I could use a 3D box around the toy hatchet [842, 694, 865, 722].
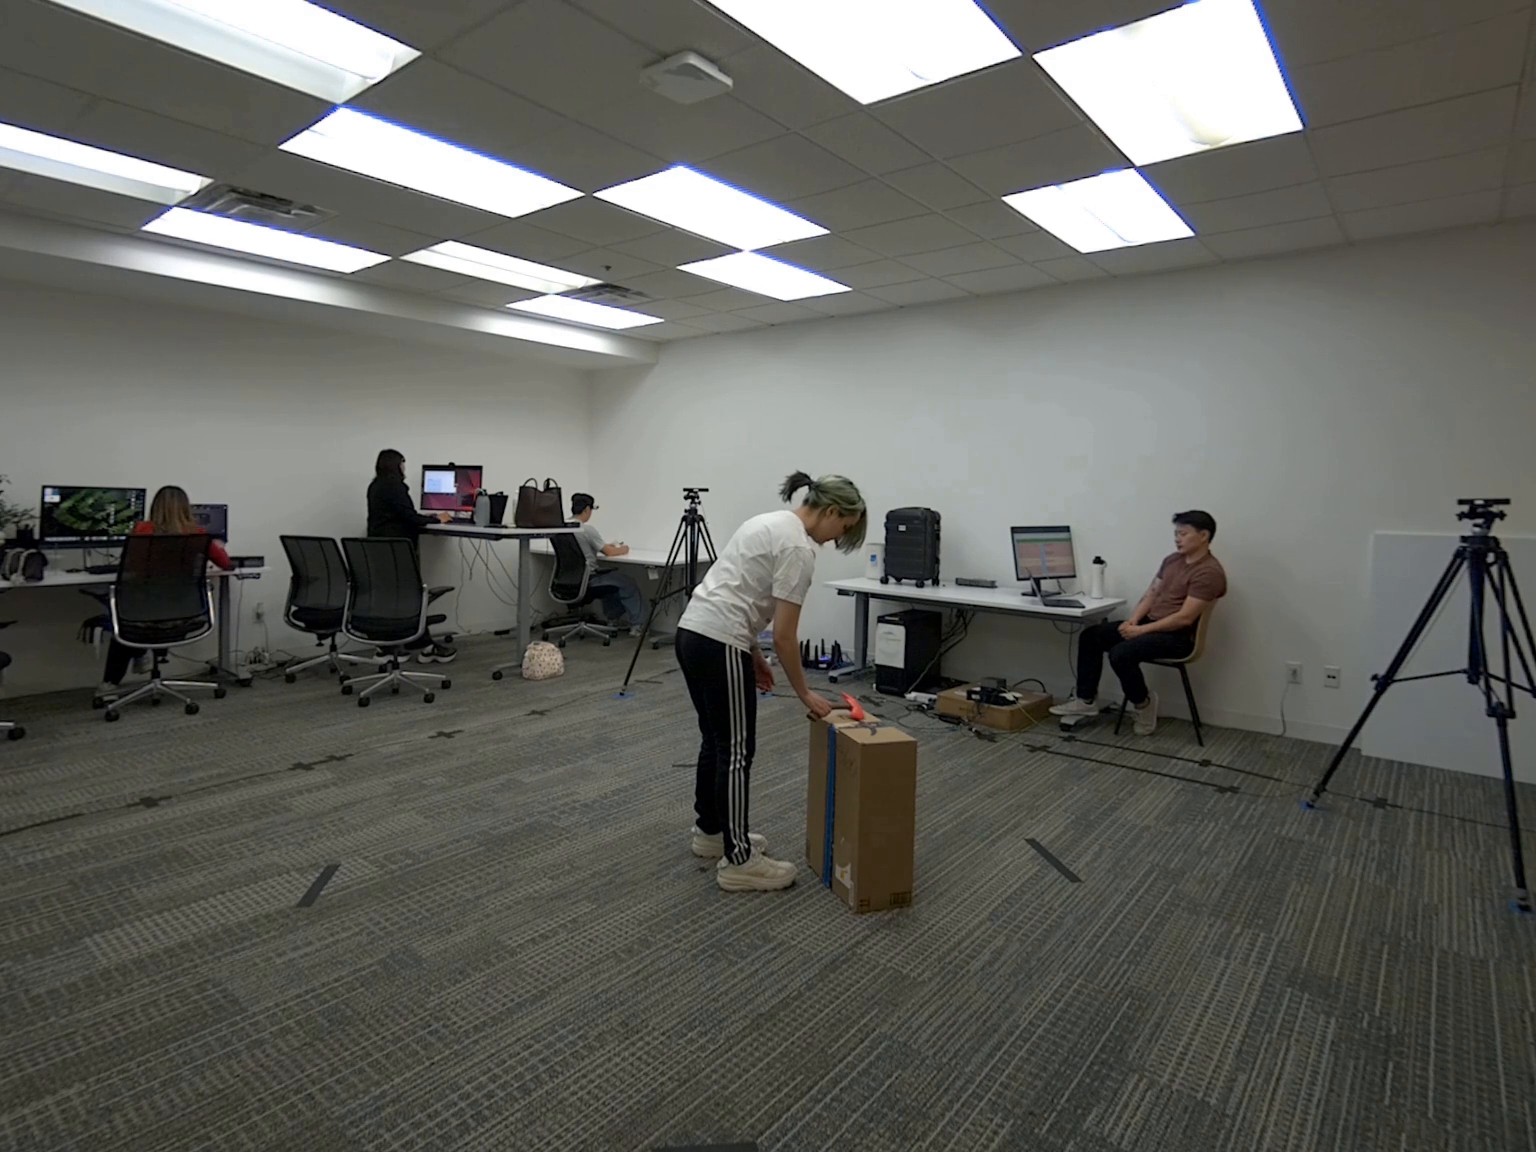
[{"bbox_3d":[0.246,0.500,3.059,0.263,0.029,0.136,-14,47,-46],"label":"toy hatchet"}]
